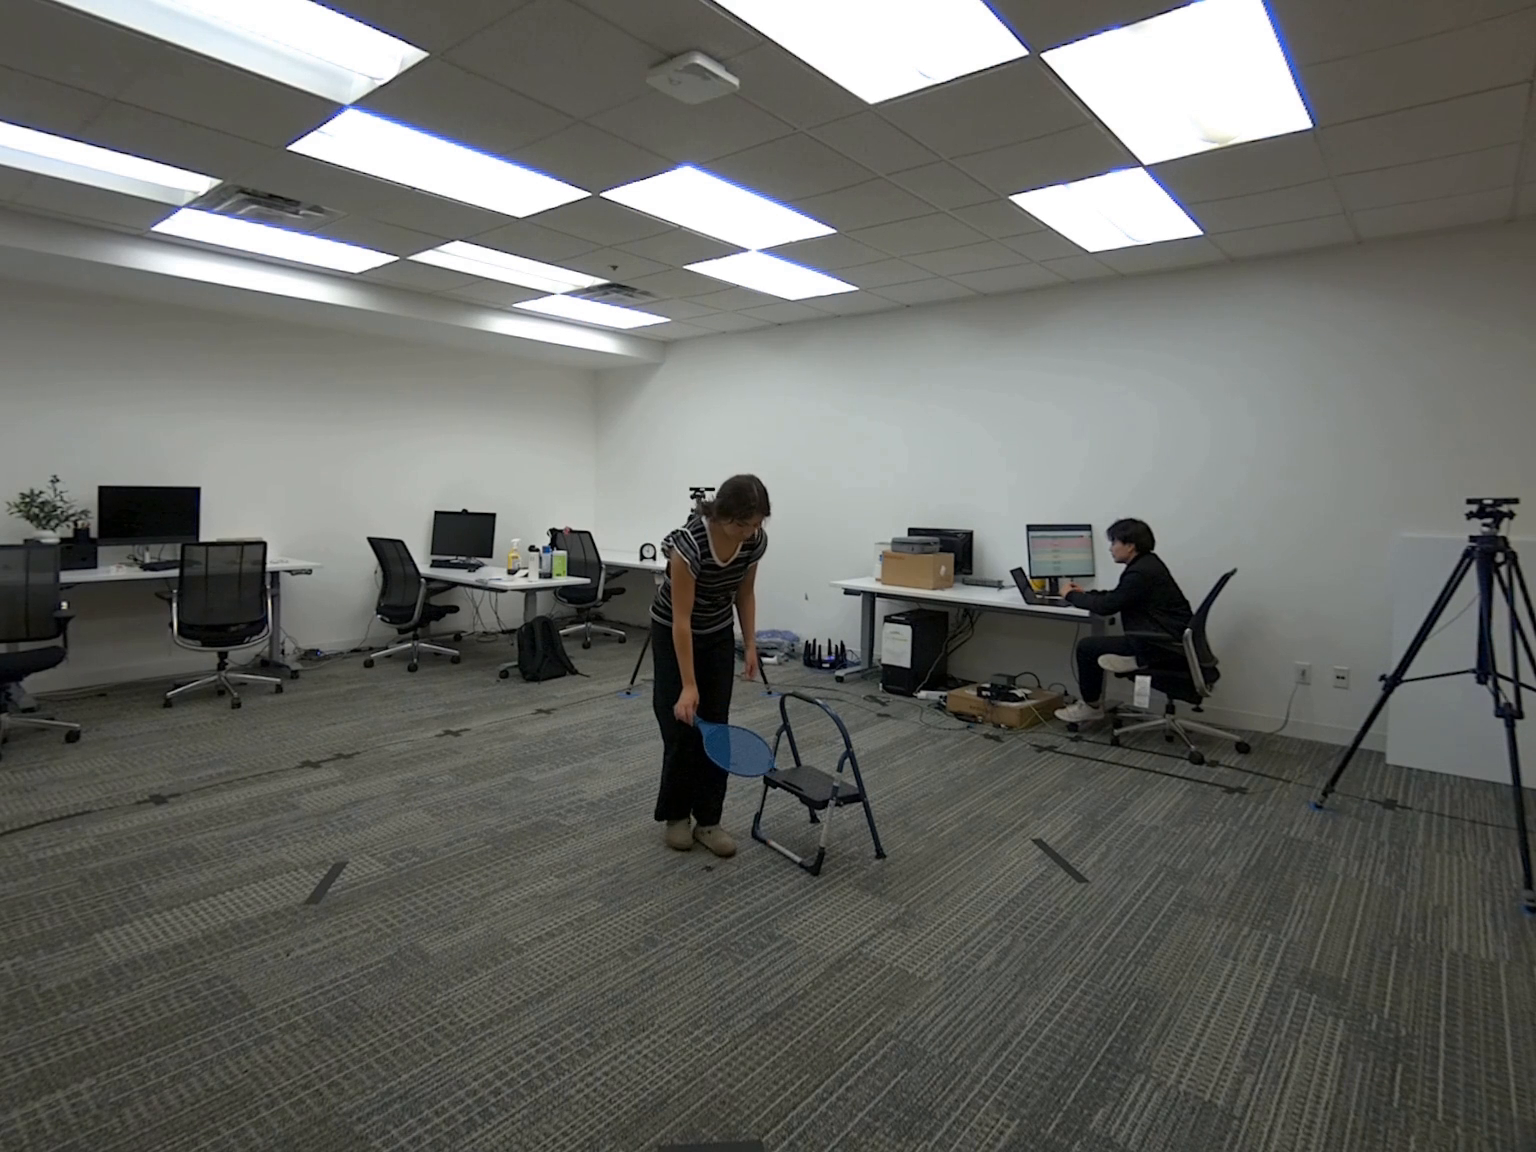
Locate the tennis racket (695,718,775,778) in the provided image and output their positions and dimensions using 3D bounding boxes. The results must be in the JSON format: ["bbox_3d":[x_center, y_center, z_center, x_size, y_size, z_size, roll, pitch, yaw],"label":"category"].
[{"bbox_3d":[-0.164,0.572,3.017,0.449,0.031,0.210,27,36,31],"label":"tennis racket"}]
